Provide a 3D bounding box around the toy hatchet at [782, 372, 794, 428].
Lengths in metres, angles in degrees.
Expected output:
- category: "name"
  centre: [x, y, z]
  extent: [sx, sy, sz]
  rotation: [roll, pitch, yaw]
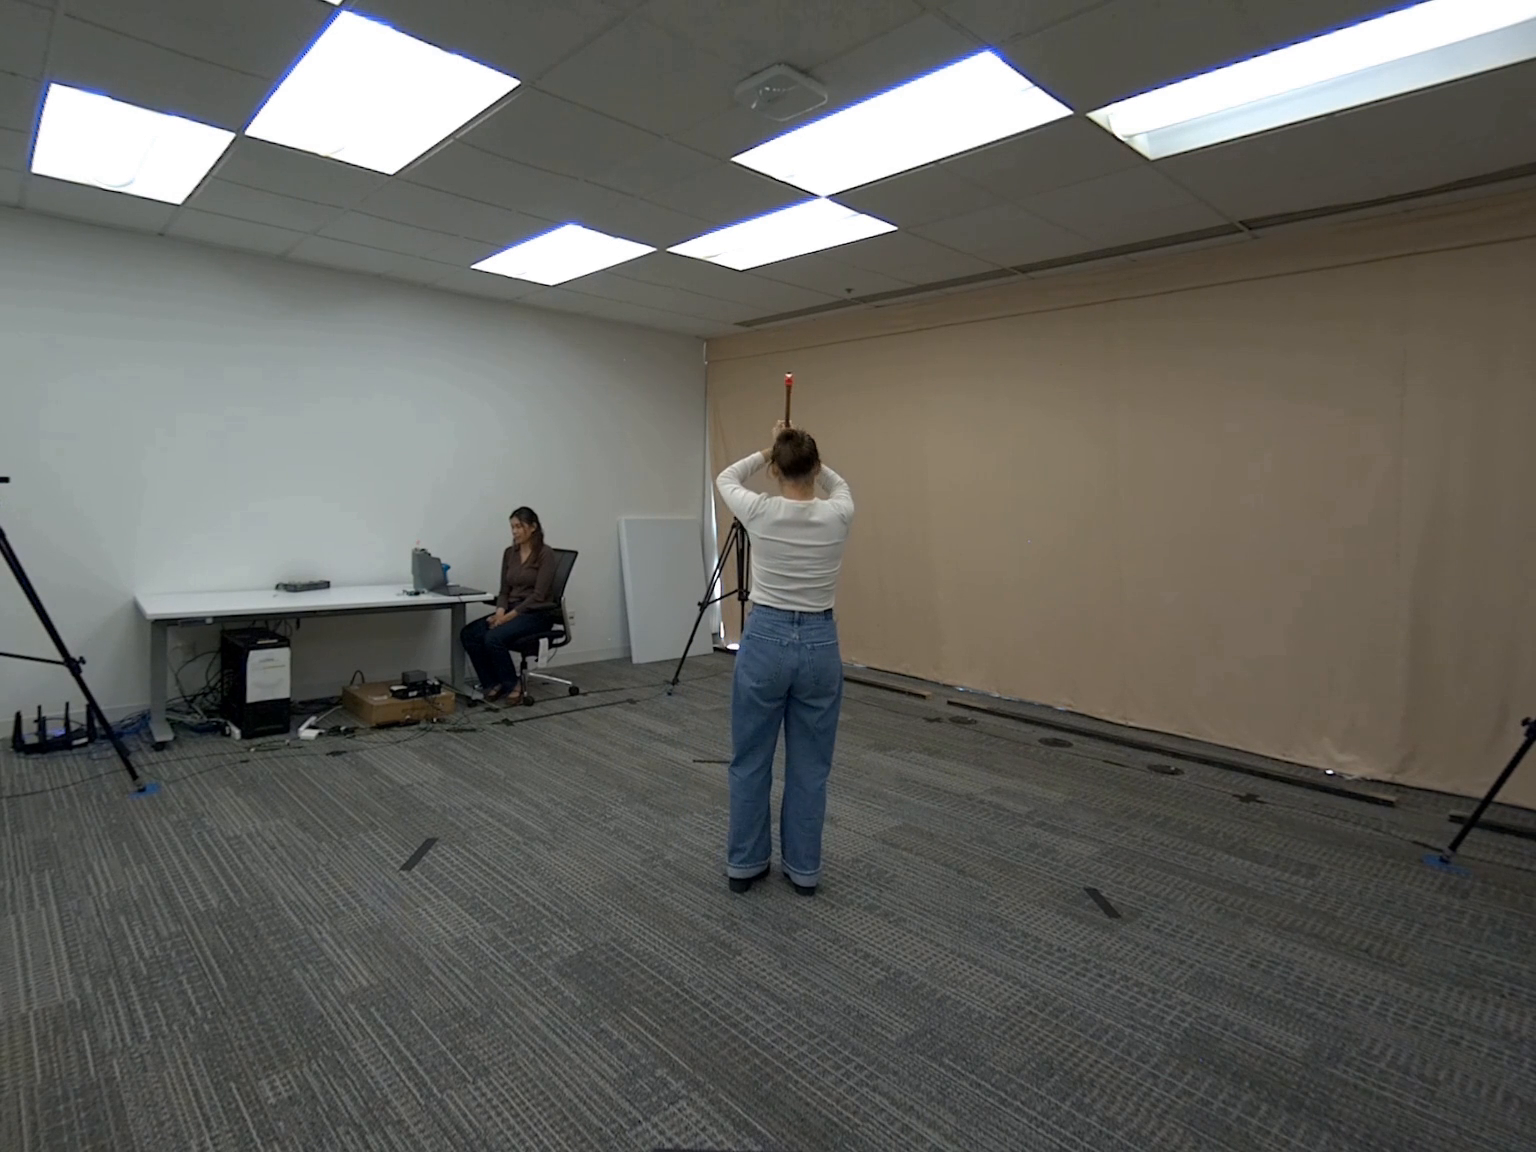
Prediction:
- category: "toy hatchet"
  centre: [0.062, -0.634, 3.148]
  extent: [0.029, 0.266, 0.133]
  rotation: [3, 22, 0]
